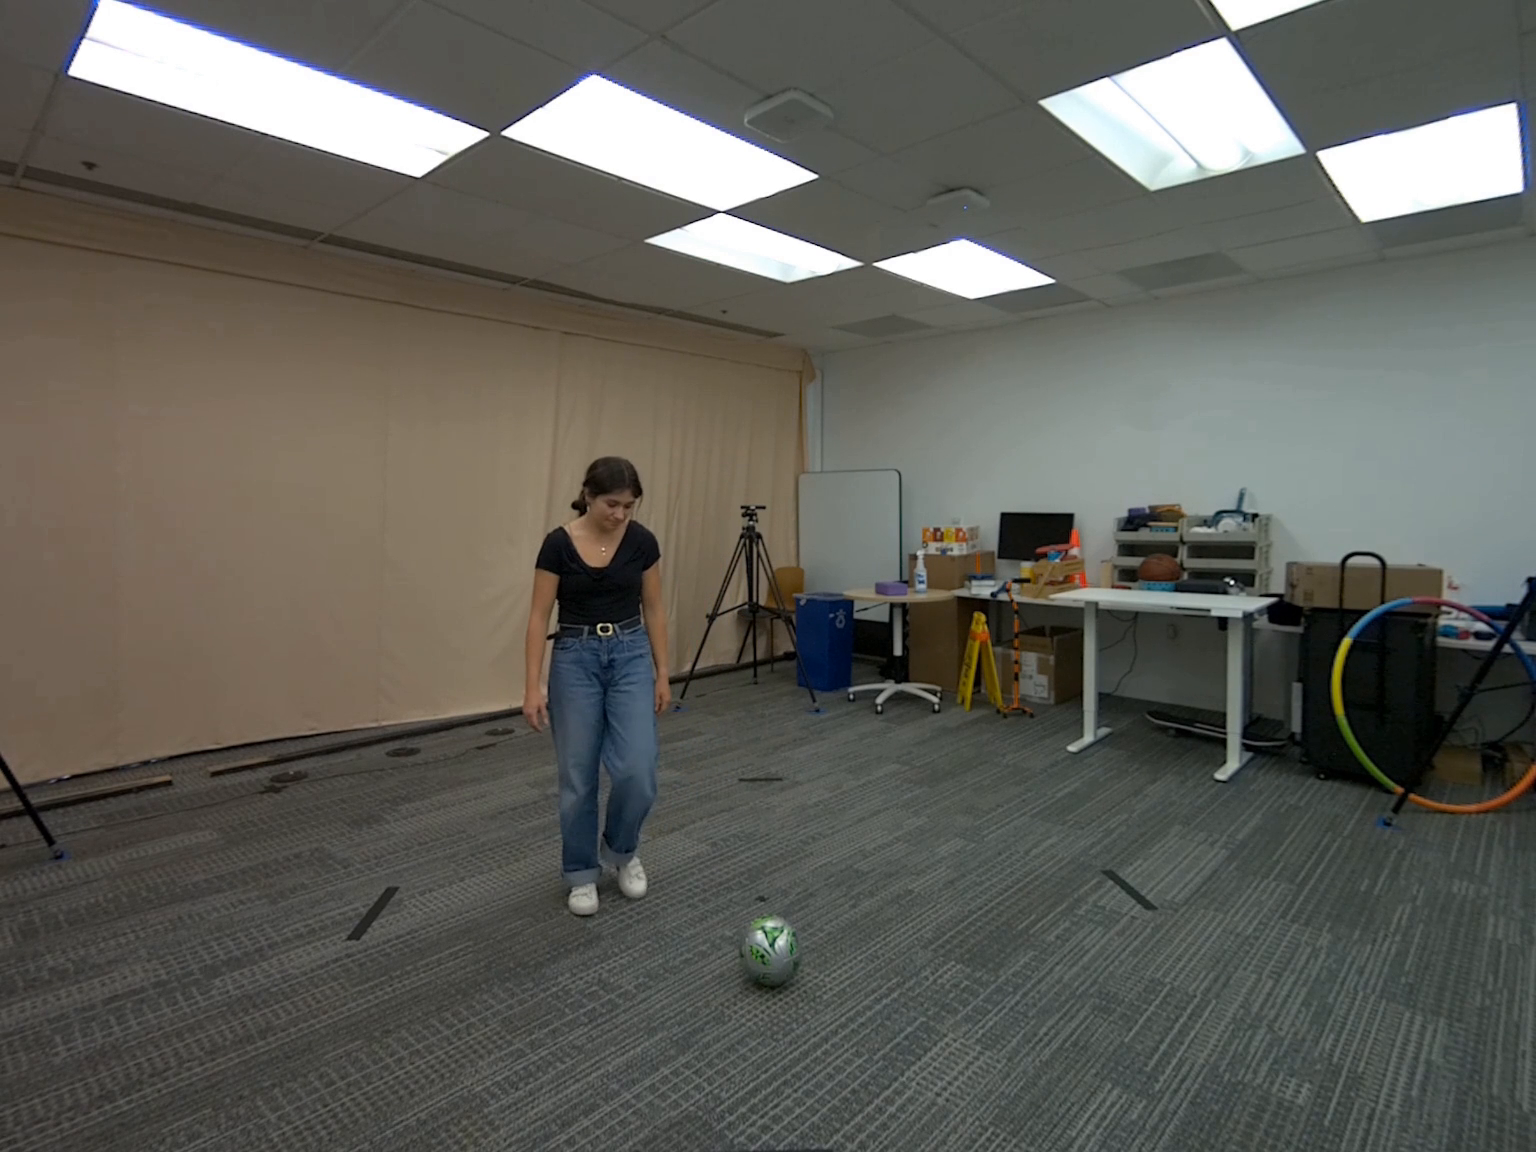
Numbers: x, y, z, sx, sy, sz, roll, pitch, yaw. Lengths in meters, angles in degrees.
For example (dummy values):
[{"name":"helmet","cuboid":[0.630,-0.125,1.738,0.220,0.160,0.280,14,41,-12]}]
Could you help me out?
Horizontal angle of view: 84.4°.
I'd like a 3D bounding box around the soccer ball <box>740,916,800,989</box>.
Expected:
[{"name":"soccer ball","cuboid":[0.021,1.098,2.449,0.187,0.187,0.188,0,4,-2]}]
